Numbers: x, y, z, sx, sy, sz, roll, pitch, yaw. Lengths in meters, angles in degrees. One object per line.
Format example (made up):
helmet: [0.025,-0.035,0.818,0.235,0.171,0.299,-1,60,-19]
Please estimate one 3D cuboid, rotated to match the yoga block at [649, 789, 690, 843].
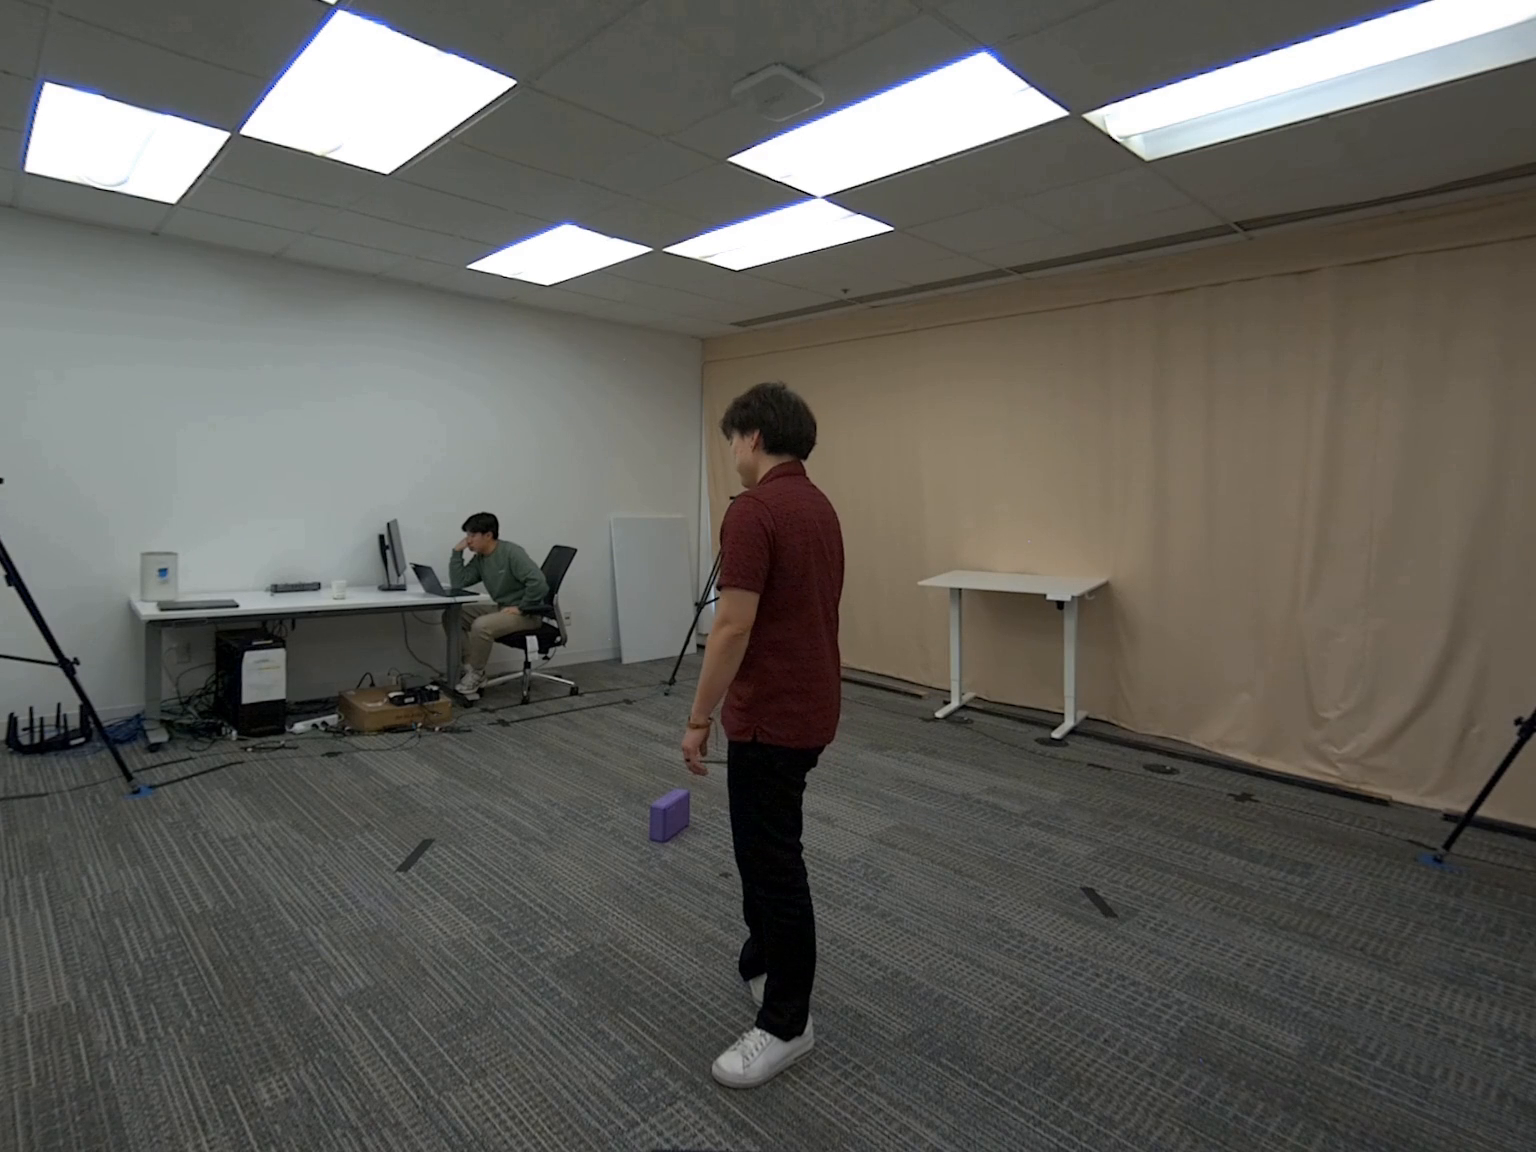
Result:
yoga block: [-0.415,0.986,3.487,0.078,0.149,0.226,1,4,21]
